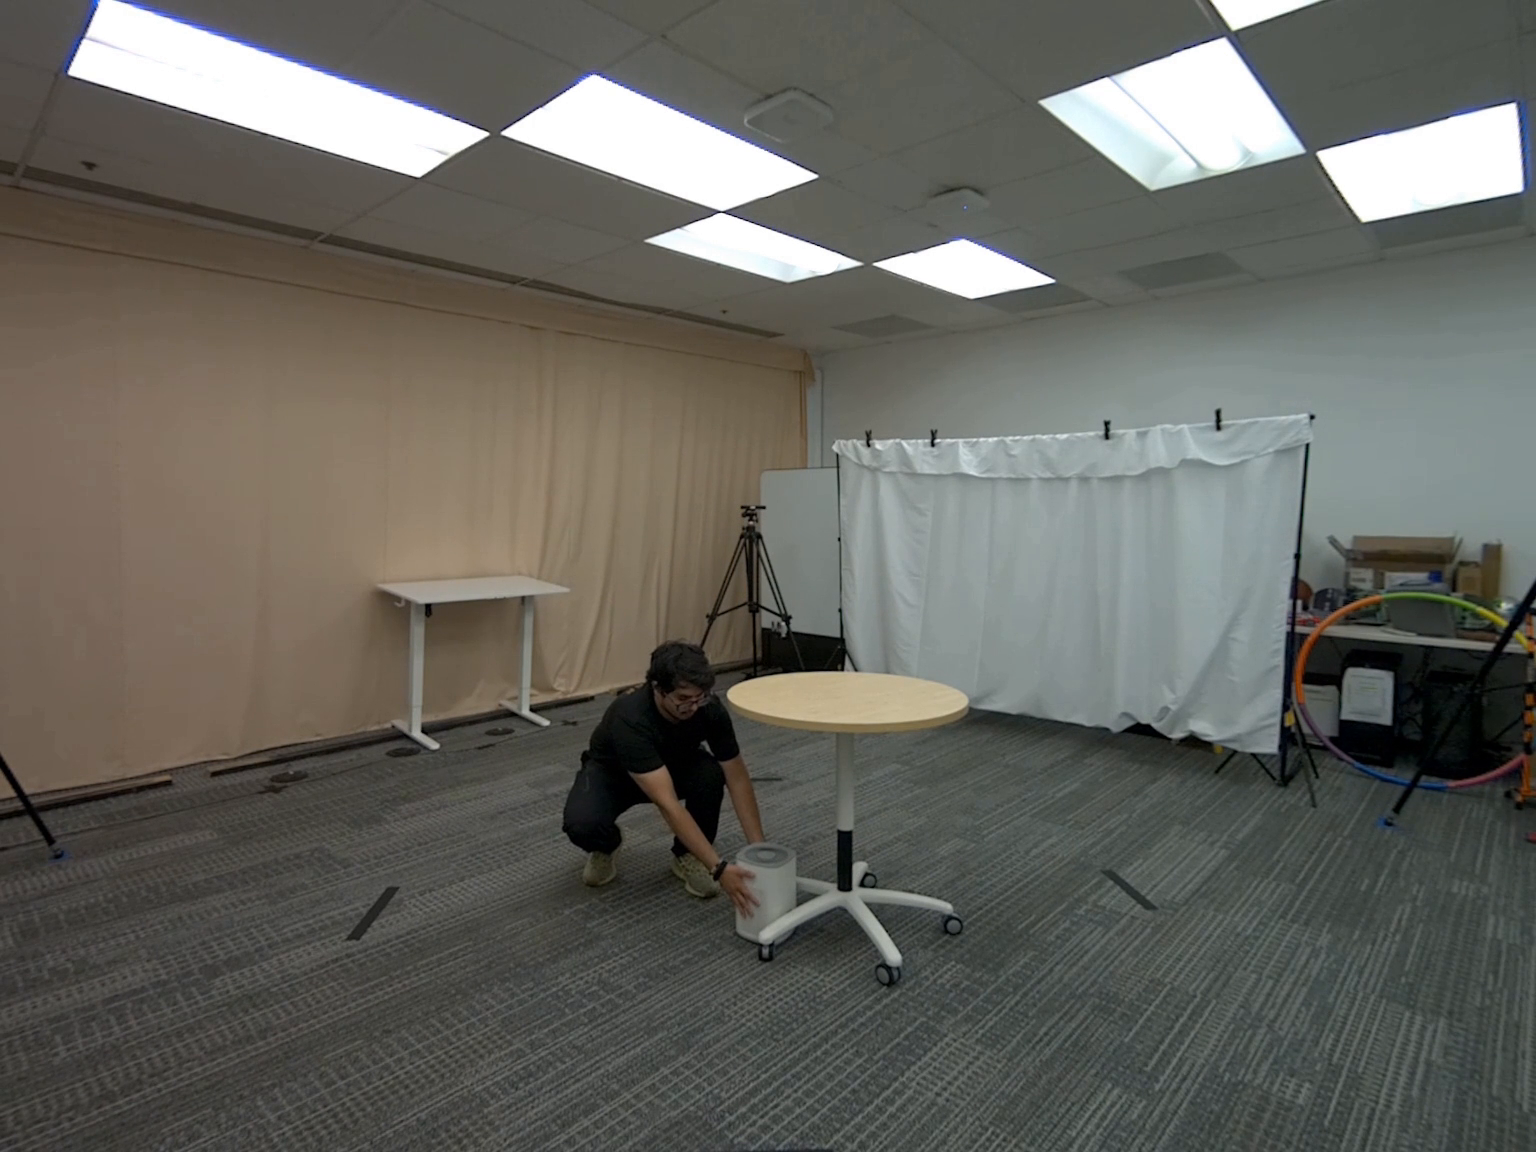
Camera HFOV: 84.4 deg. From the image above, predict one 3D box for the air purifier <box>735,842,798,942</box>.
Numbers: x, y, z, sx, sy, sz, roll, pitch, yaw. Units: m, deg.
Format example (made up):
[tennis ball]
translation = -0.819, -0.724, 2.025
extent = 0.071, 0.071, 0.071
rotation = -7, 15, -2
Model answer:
[air purifier]
translation = -0.004, 1.036, 2.726
extent = 0.177, 0.265, 0.166
rotation = 2, 3, 33
